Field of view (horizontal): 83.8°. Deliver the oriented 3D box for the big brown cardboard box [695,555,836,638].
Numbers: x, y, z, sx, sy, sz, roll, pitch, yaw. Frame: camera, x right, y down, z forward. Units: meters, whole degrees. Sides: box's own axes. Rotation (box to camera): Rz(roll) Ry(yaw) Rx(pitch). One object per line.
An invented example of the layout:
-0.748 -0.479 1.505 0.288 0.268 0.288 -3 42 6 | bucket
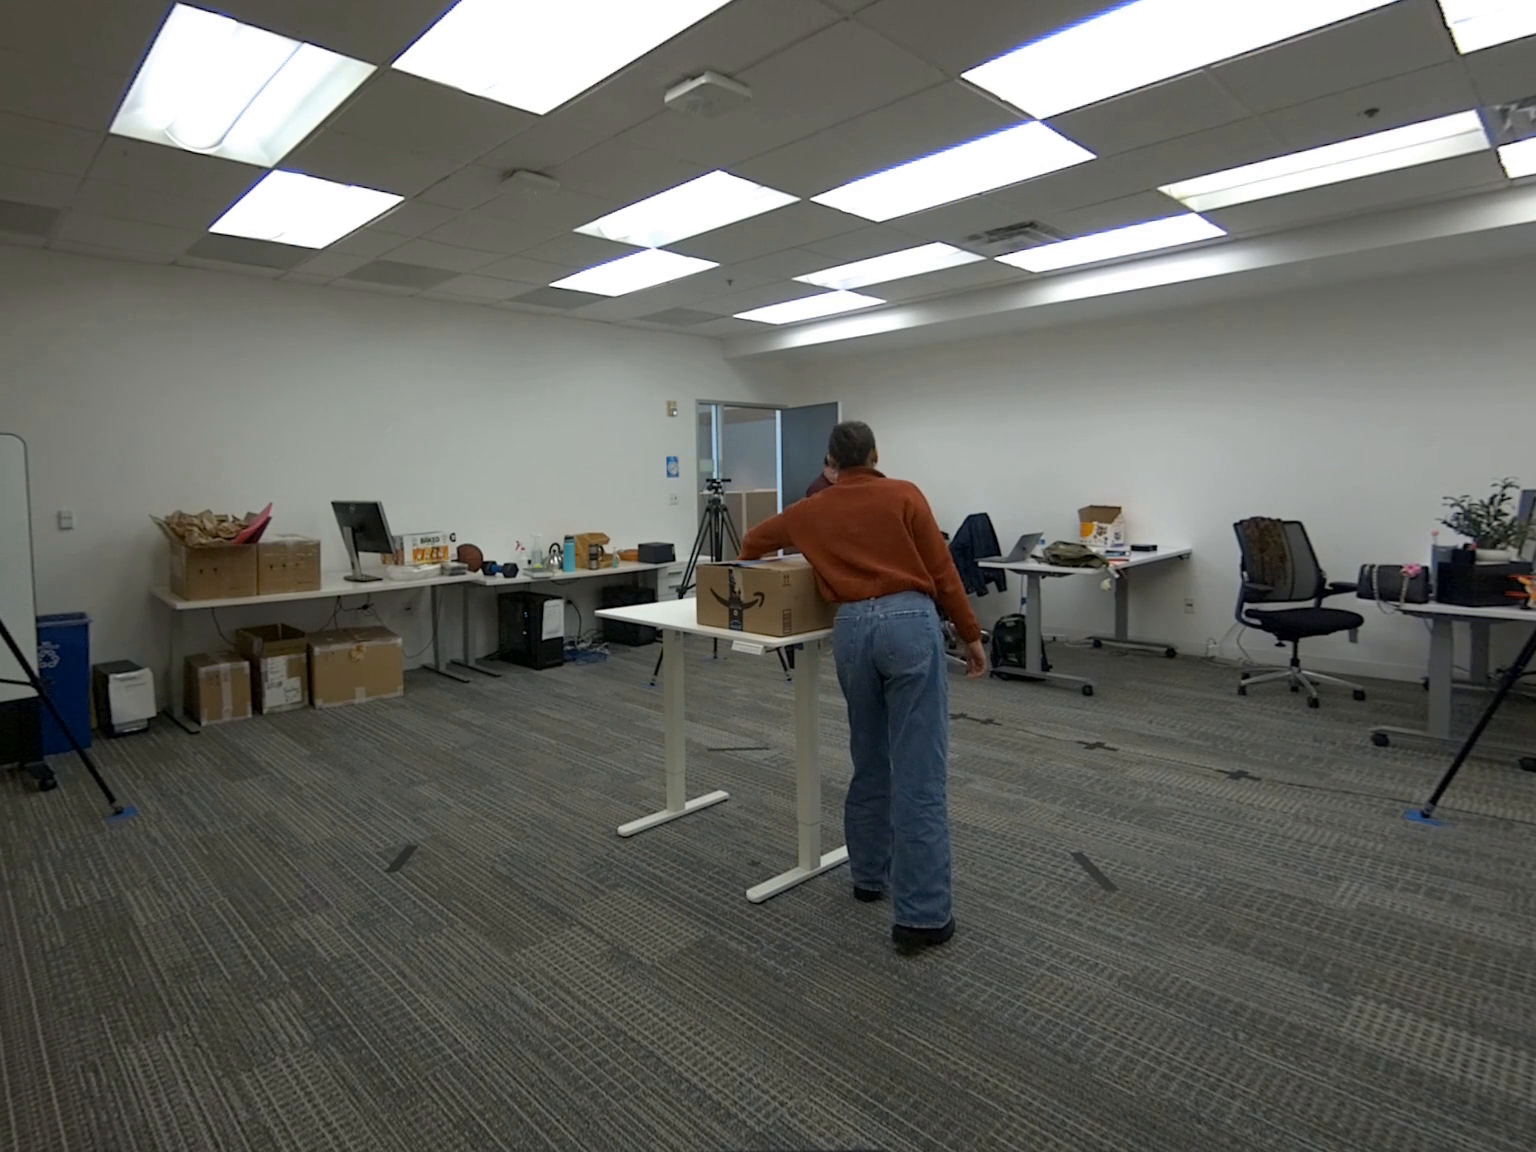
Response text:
0.093 0.057 3.075 0.430 0.232 0.574 4 8 44 | big brown cardboard box
